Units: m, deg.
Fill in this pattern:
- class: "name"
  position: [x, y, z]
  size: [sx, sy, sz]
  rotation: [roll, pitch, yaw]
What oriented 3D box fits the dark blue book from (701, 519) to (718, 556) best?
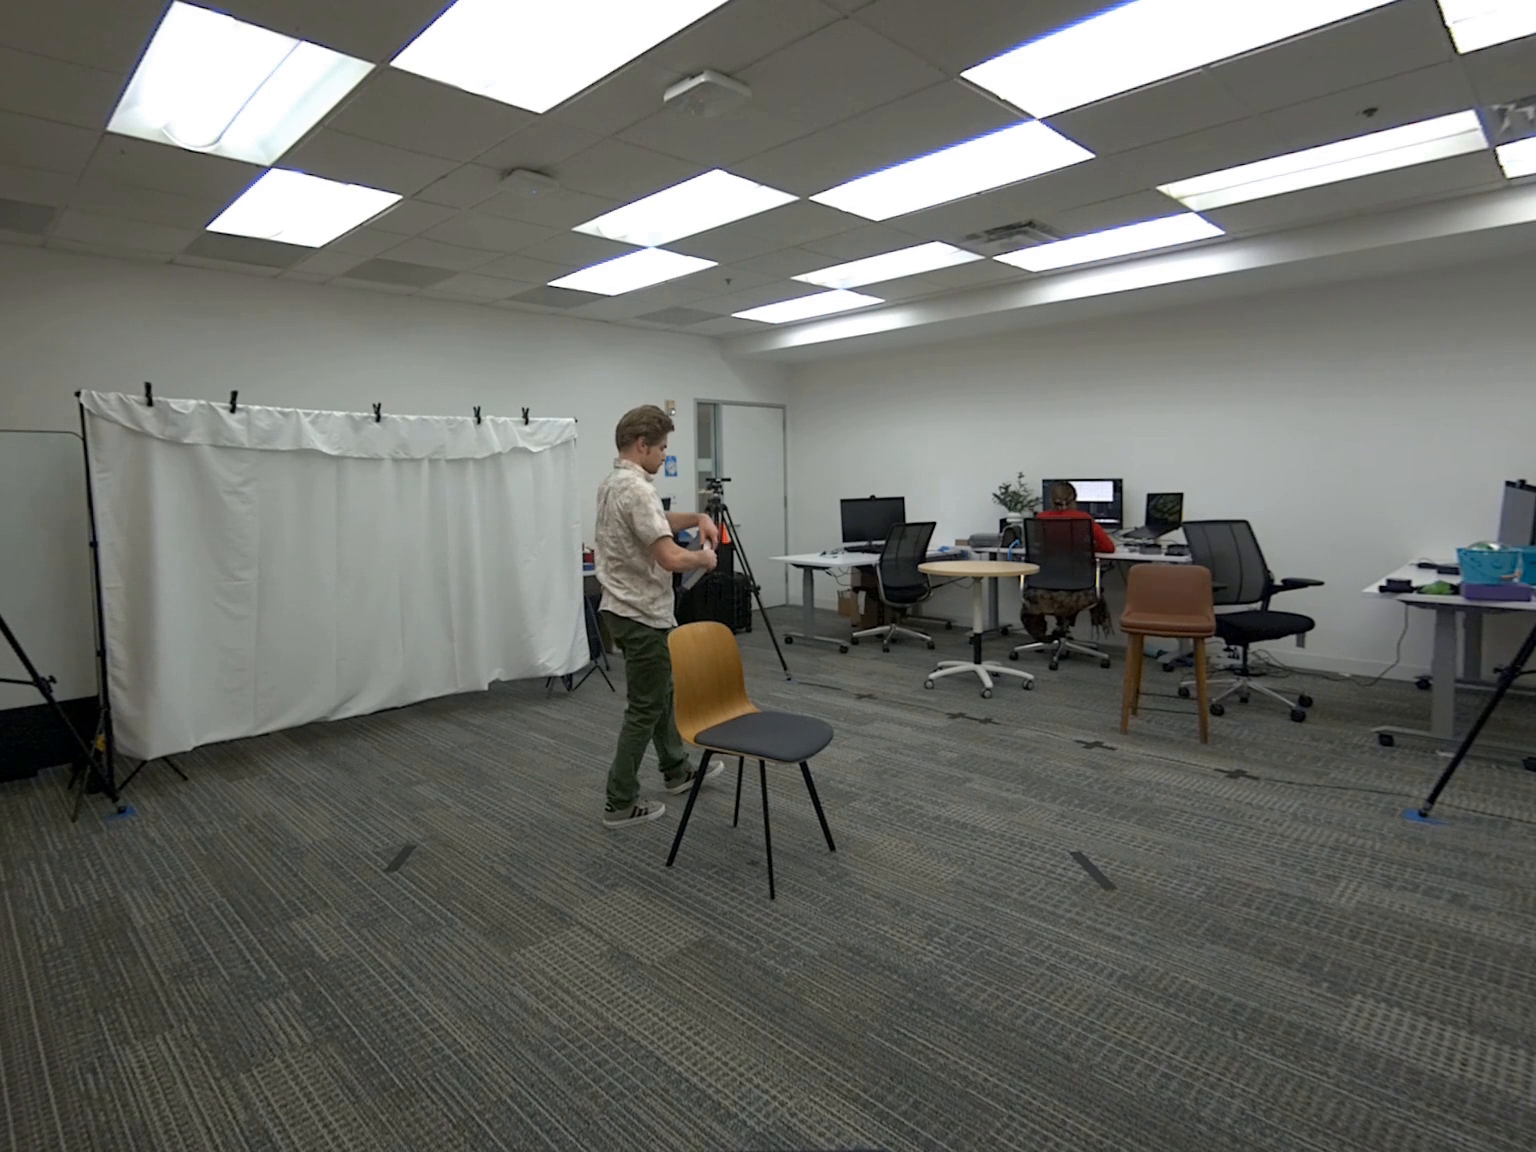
- class: "dark blue book"
  position: [-0.307, -0.075, 3.680]
  size: [0.044, 0.163, 0.251]
  rotation: [27, 36, -22]
